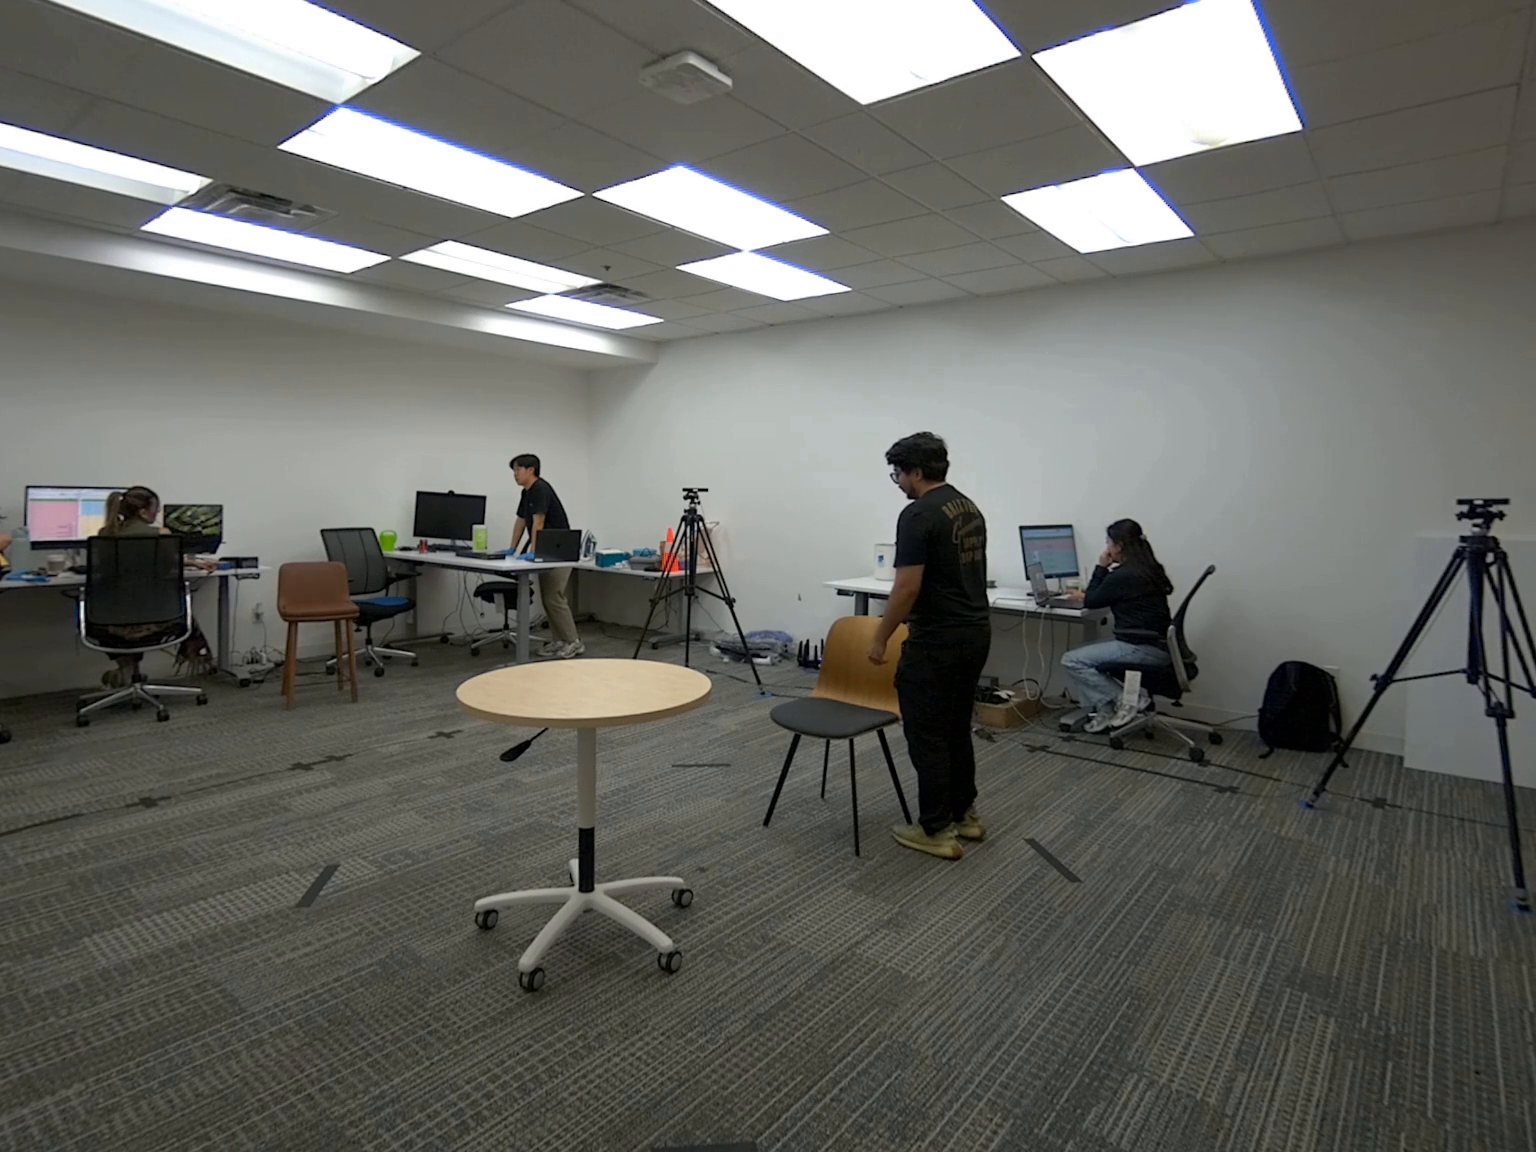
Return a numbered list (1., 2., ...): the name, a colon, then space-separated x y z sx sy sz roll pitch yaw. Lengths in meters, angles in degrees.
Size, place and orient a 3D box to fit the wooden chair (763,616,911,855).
1. wooden chair: 0.285 0.611 3.529 0.494 0.877 0.506 5 0 38
